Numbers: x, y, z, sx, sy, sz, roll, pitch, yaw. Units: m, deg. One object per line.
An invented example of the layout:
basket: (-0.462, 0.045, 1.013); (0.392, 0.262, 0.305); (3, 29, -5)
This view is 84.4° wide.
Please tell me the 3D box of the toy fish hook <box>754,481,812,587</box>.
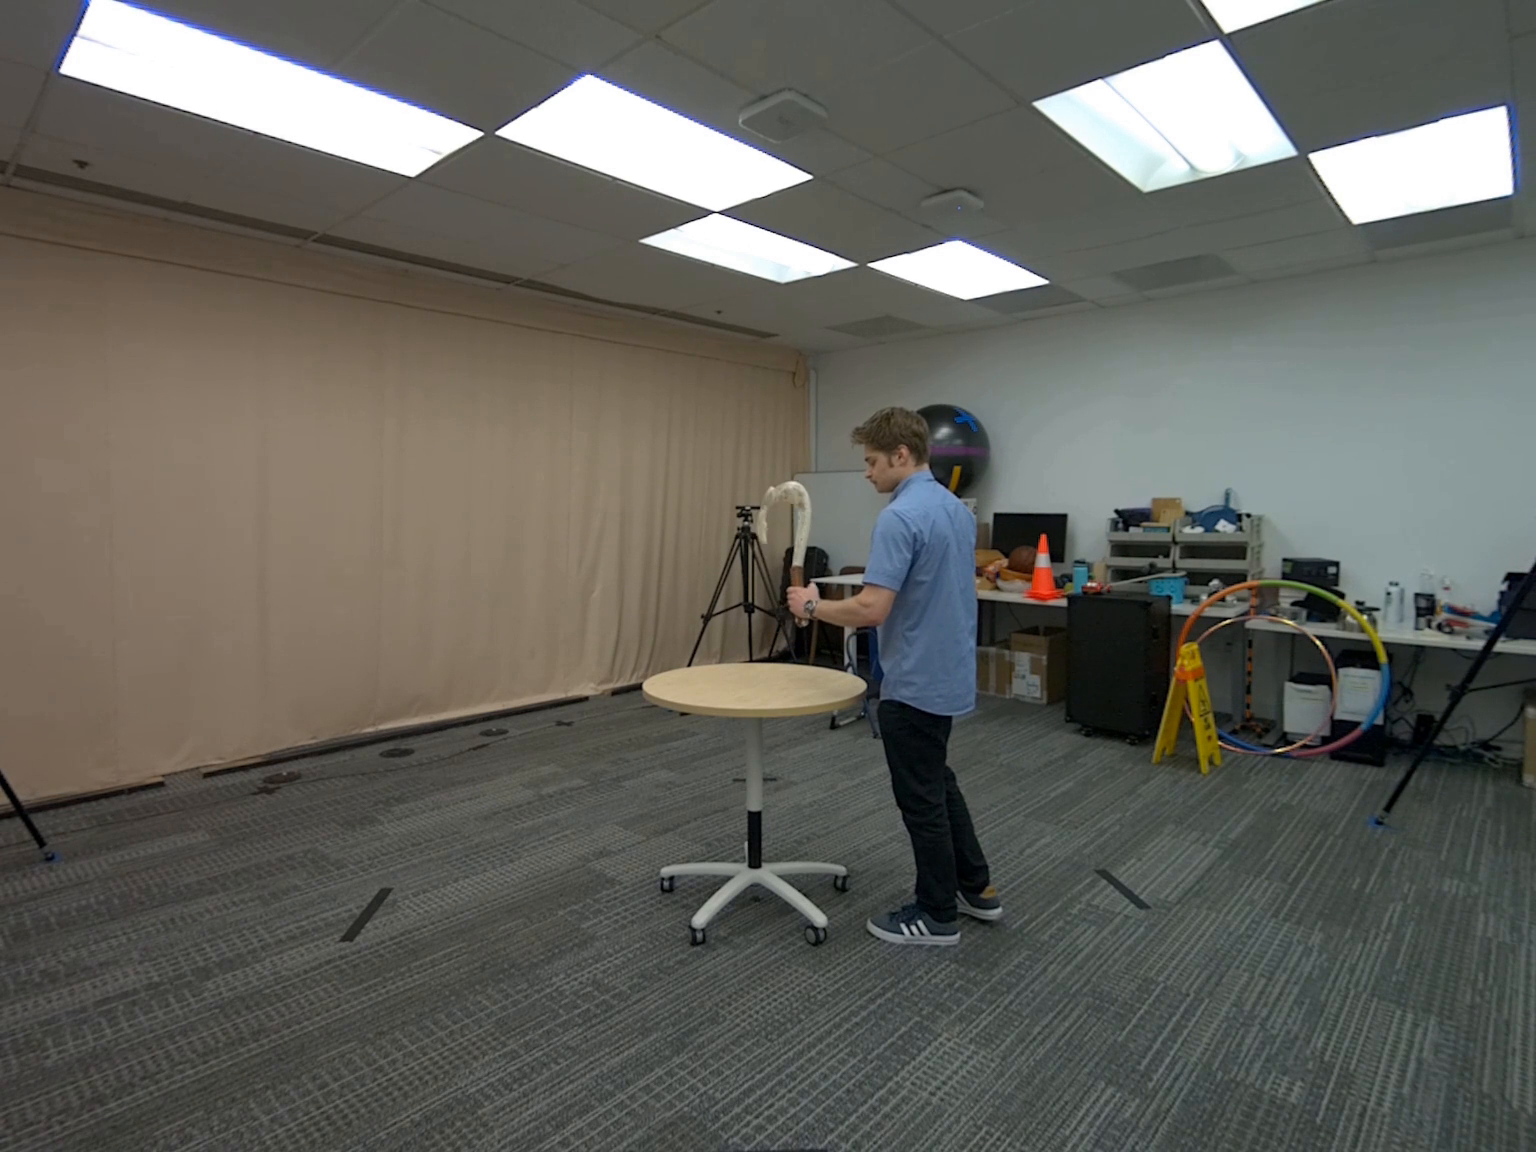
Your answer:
toy fish hook: (0.061, -0.058, 2.842); (0.230, 0.512, 0.046); (-17, -21, 40)
